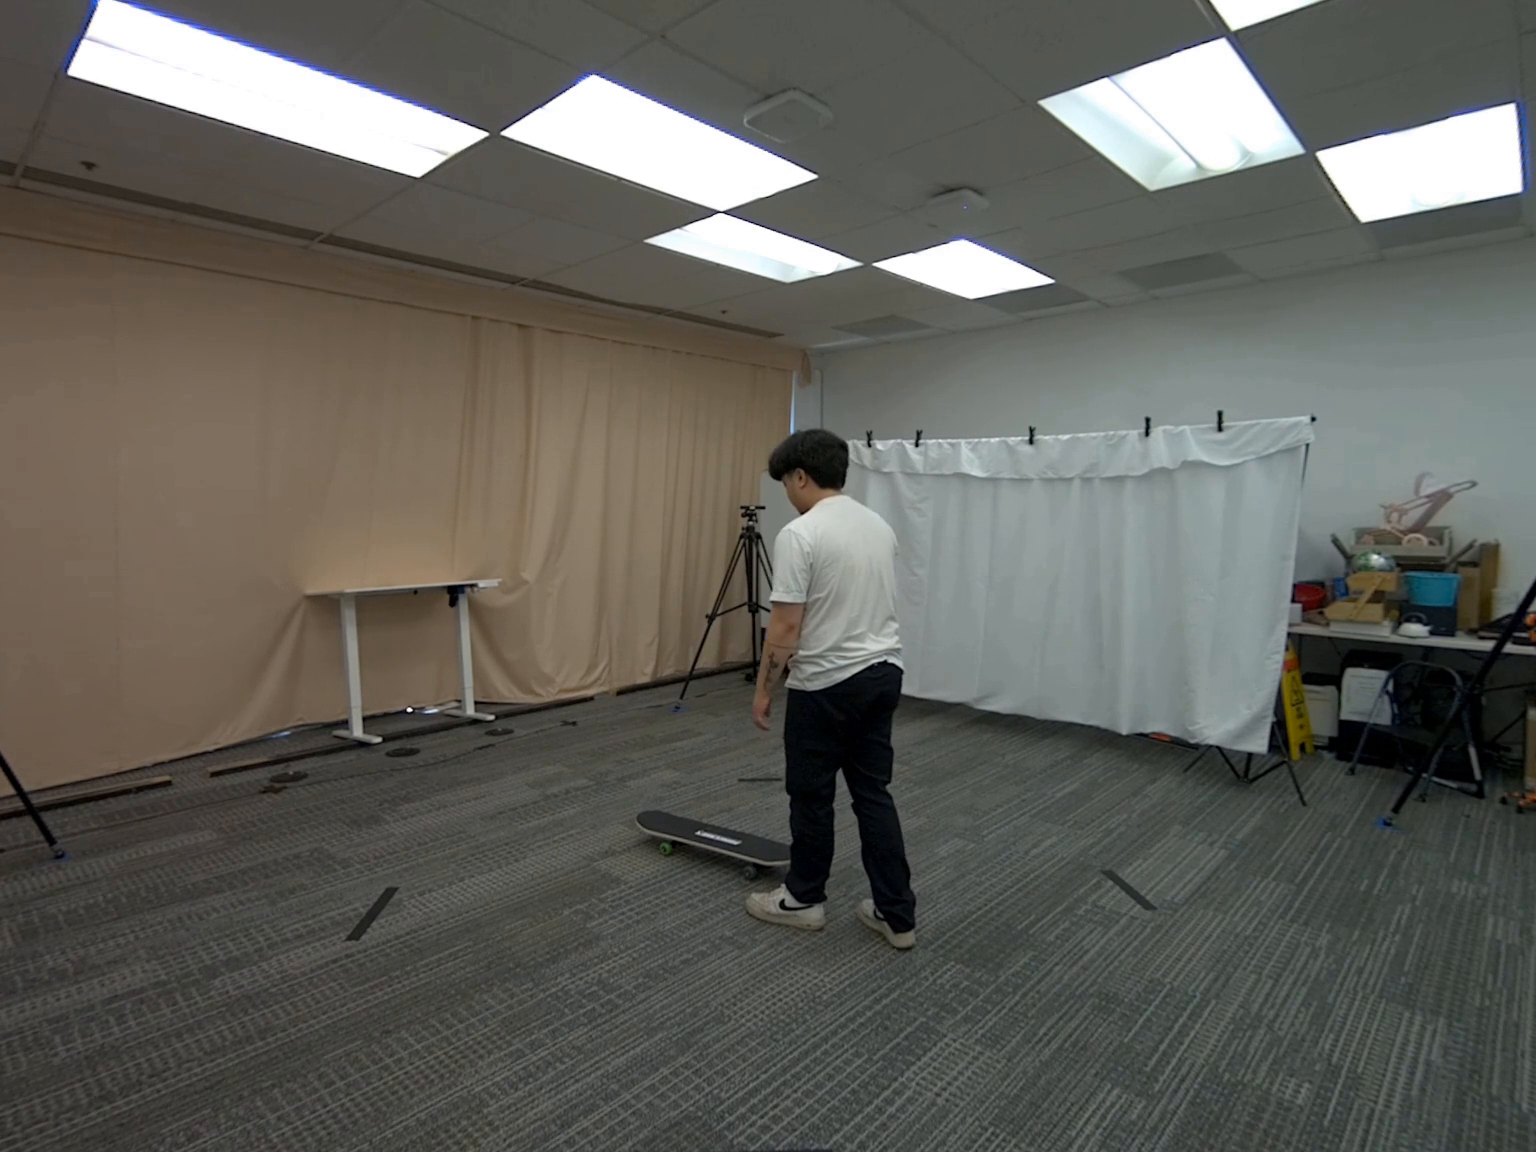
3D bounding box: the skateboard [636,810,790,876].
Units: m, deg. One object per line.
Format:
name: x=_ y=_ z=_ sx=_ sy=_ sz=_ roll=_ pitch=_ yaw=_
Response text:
skateboard: x=-0.195 y=1.061 z=3.320 sx=0.809 sy=0.110 sz=0.188 roll=3 pitch=6 yaw=32
